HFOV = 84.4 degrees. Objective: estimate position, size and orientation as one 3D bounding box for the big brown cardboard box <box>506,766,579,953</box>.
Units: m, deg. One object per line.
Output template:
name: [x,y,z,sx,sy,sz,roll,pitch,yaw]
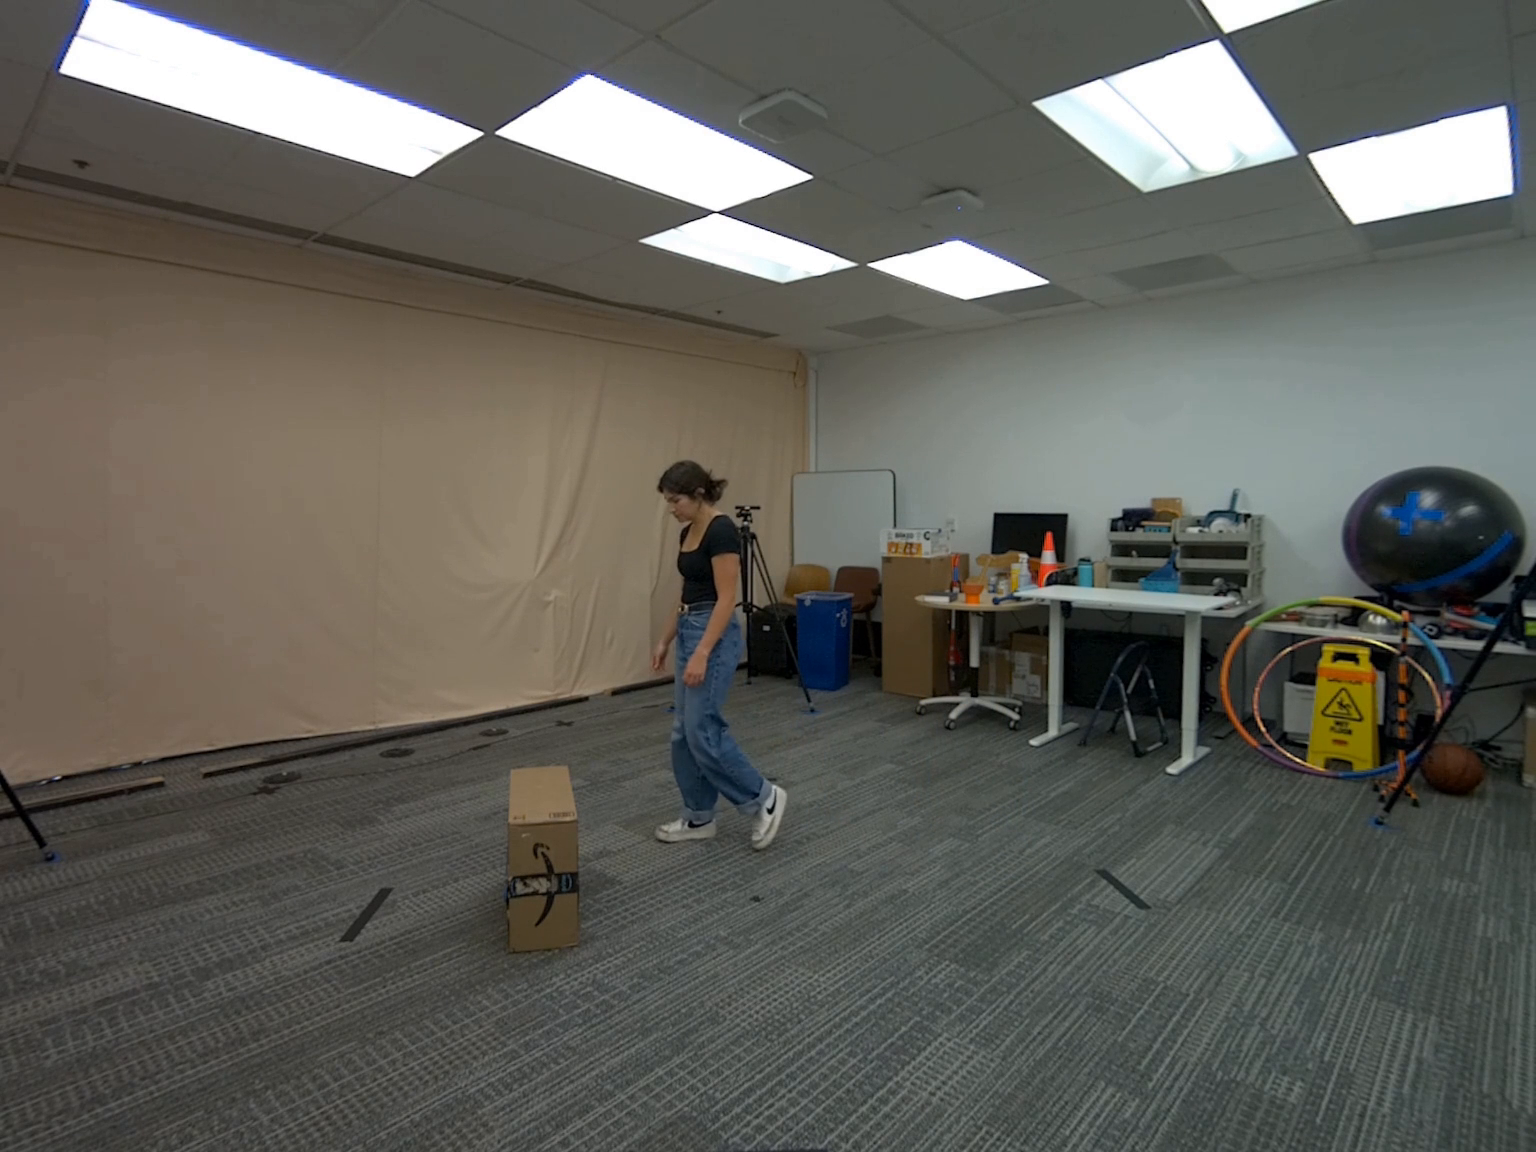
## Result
big brown cardboard box: [-0.783,0.948,2.900,0.230,0.417,0.599,0,3,-15]
